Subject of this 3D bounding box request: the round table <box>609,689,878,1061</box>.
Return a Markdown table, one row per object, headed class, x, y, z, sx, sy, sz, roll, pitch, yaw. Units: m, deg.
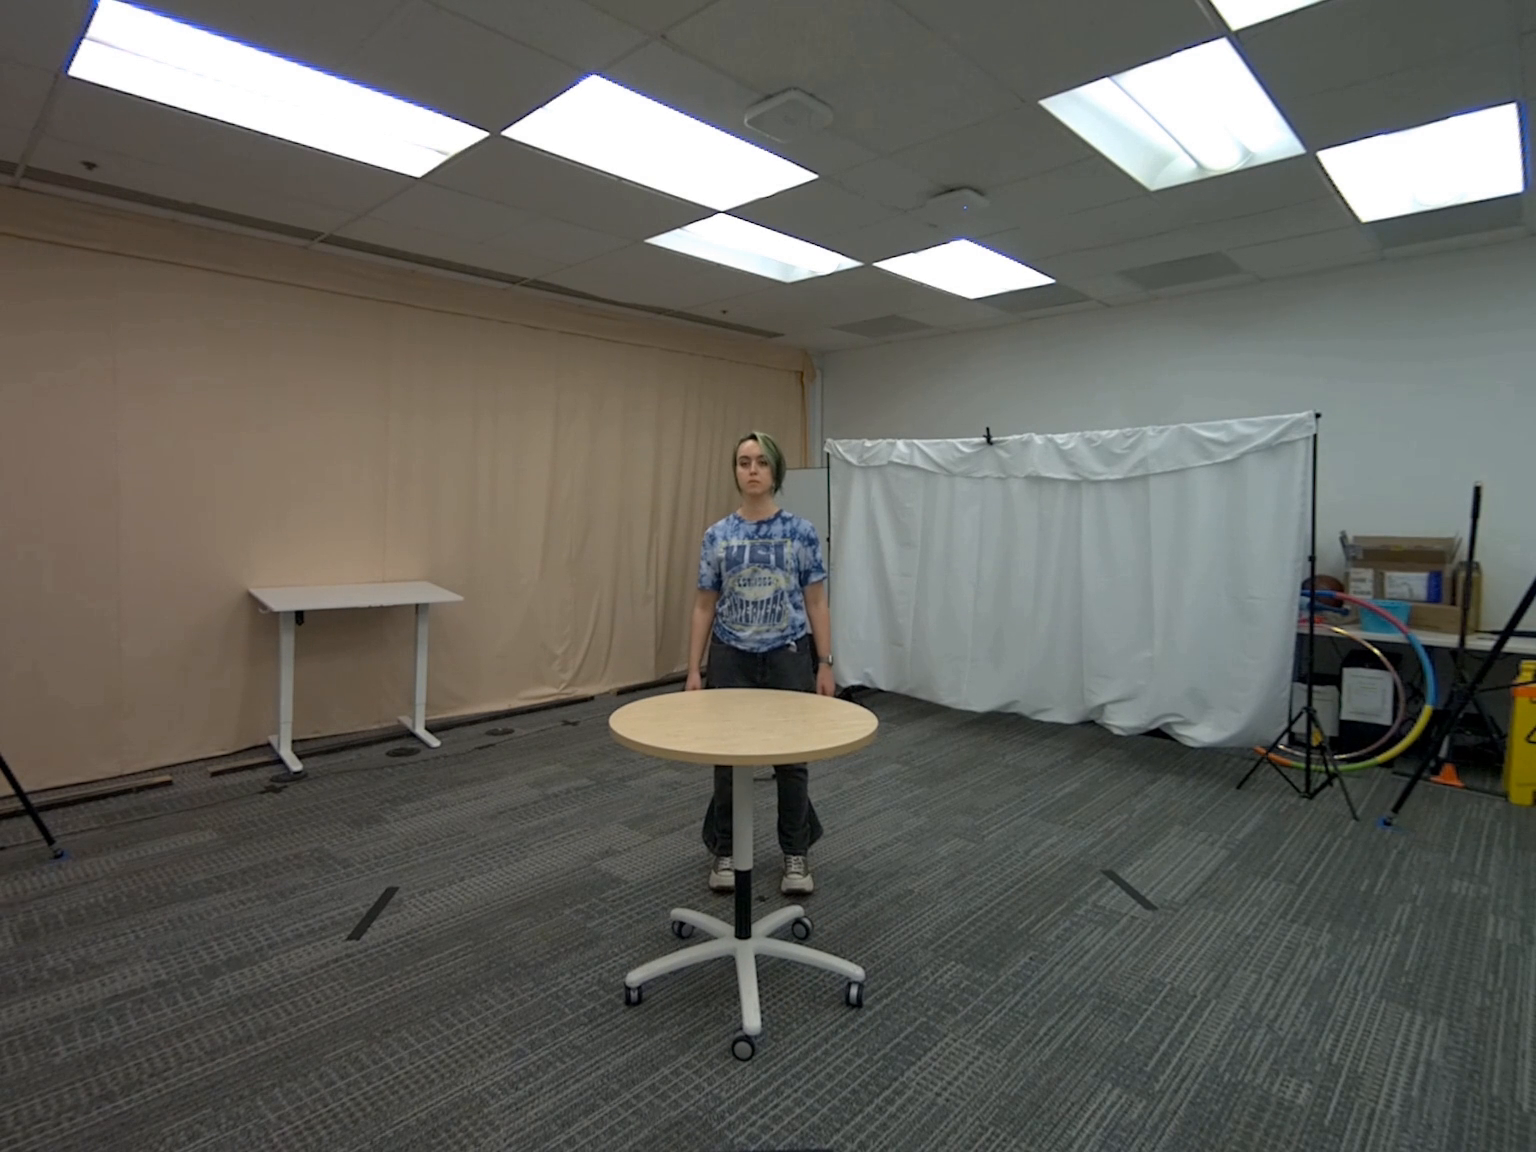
| class | x | y | z | sx | sy | sz | roll | pitch | yaw |
| --- | --- | --- | --- | --- | --- | --- | --- | --- | --- |
| round table | -0.075 | 0.799 | 2.443 | 0.763 | 0.792 | 0.766 | 0 | 3 | -2 |
